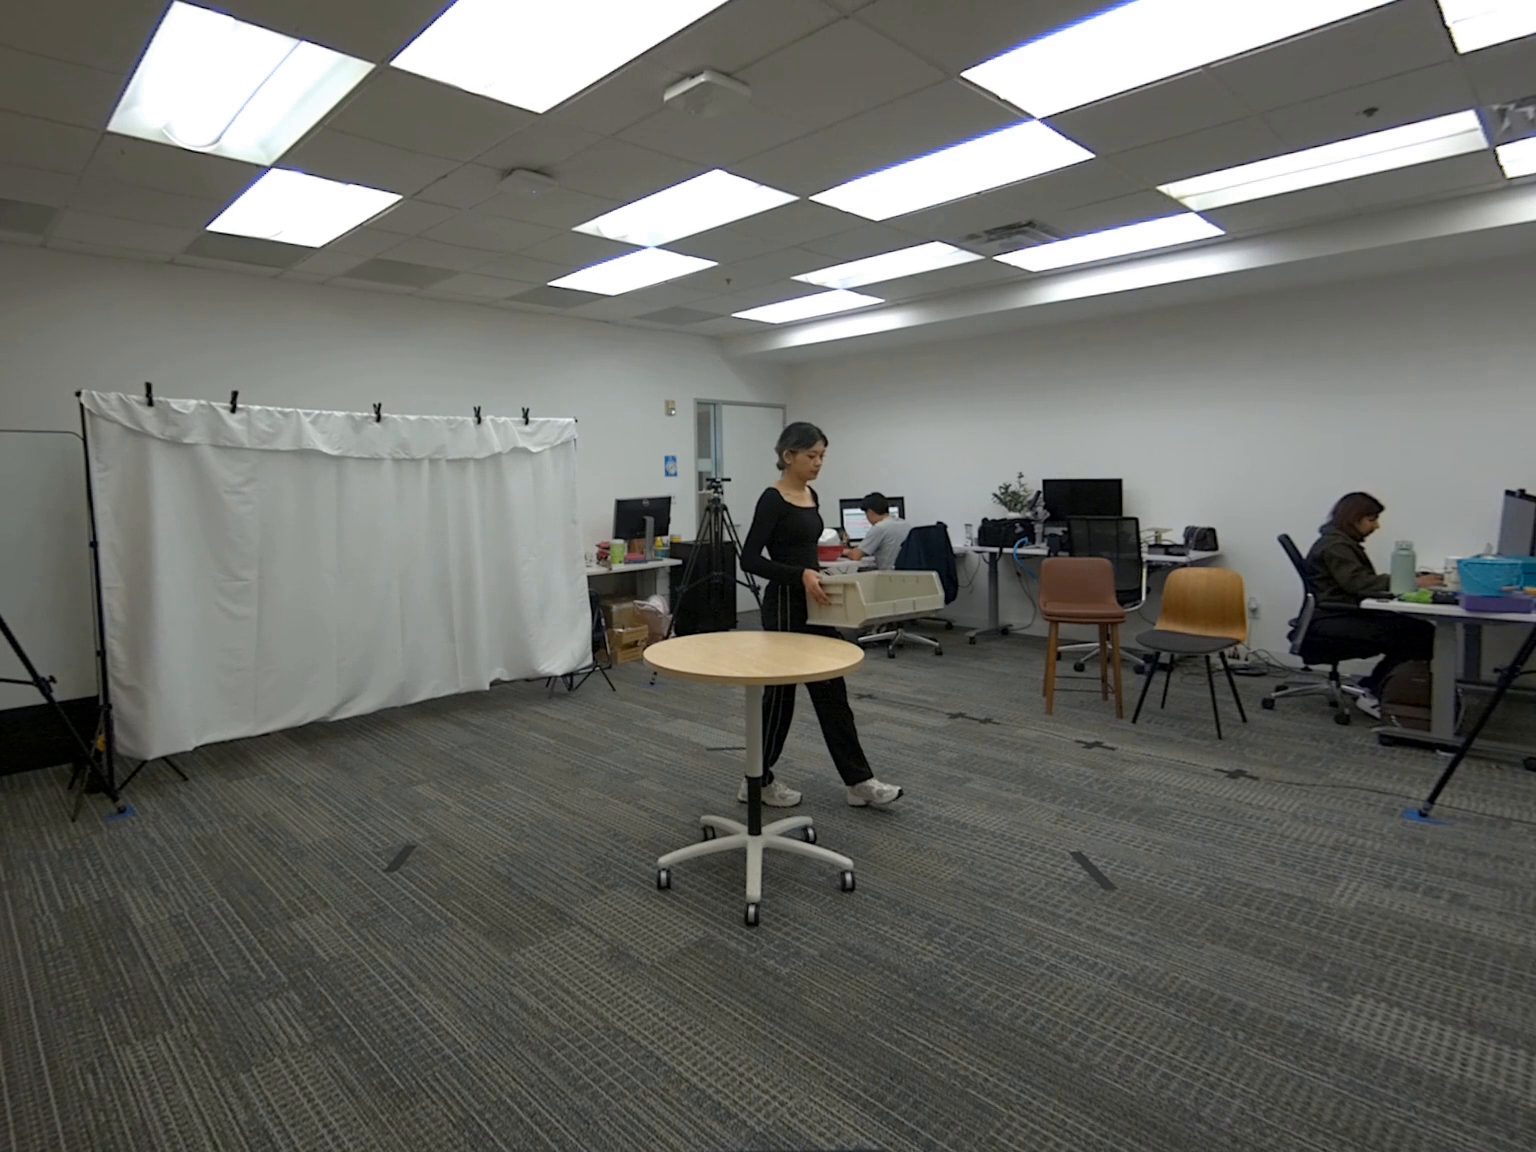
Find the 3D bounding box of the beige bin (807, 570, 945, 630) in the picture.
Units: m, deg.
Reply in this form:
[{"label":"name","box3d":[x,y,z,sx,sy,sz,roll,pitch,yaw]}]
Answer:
[{"label":"beige bin","box3d":[0.419,0.088,3.400,0.412,0.189,0.387,-6,2,-33]}]
